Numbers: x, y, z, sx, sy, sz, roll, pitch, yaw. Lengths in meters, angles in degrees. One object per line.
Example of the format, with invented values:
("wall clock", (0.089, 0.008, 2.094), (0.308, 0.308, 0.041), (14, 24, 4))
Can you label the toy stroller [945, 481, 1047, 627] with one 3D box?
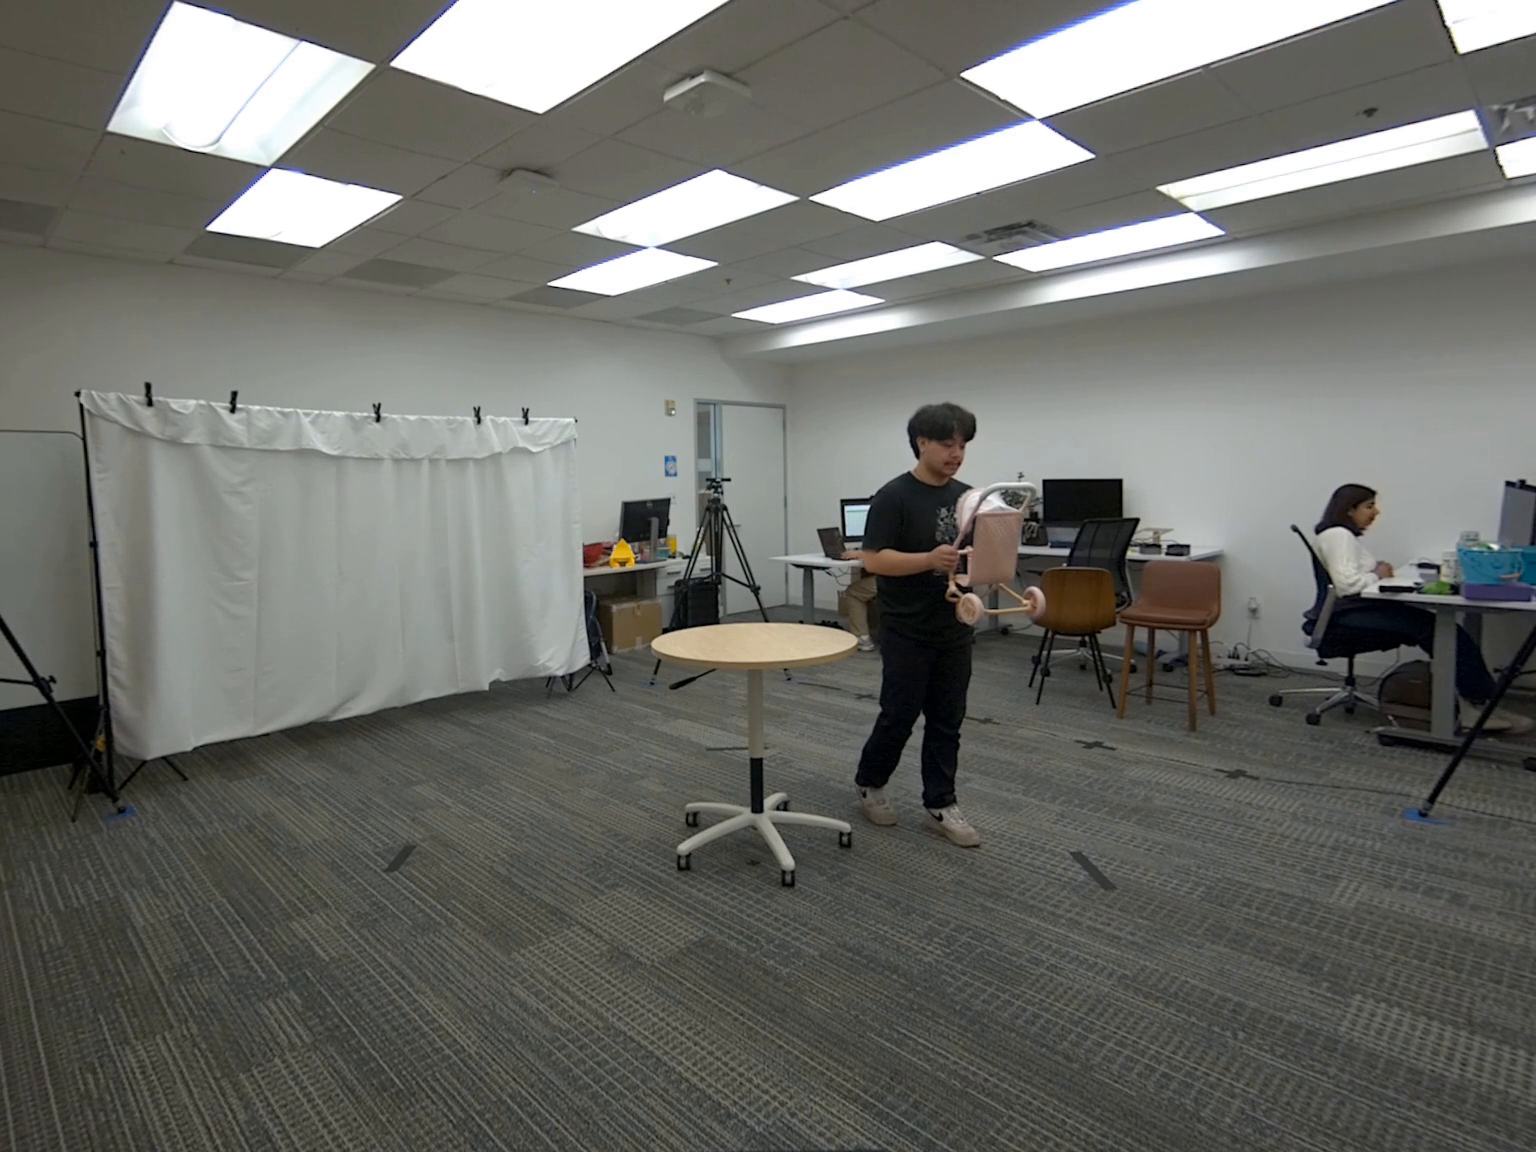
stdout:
("toy stroller", (0.755, -0.067, 2.985), (0.278, 0.531, 0.348), (-5, 9, -15))
